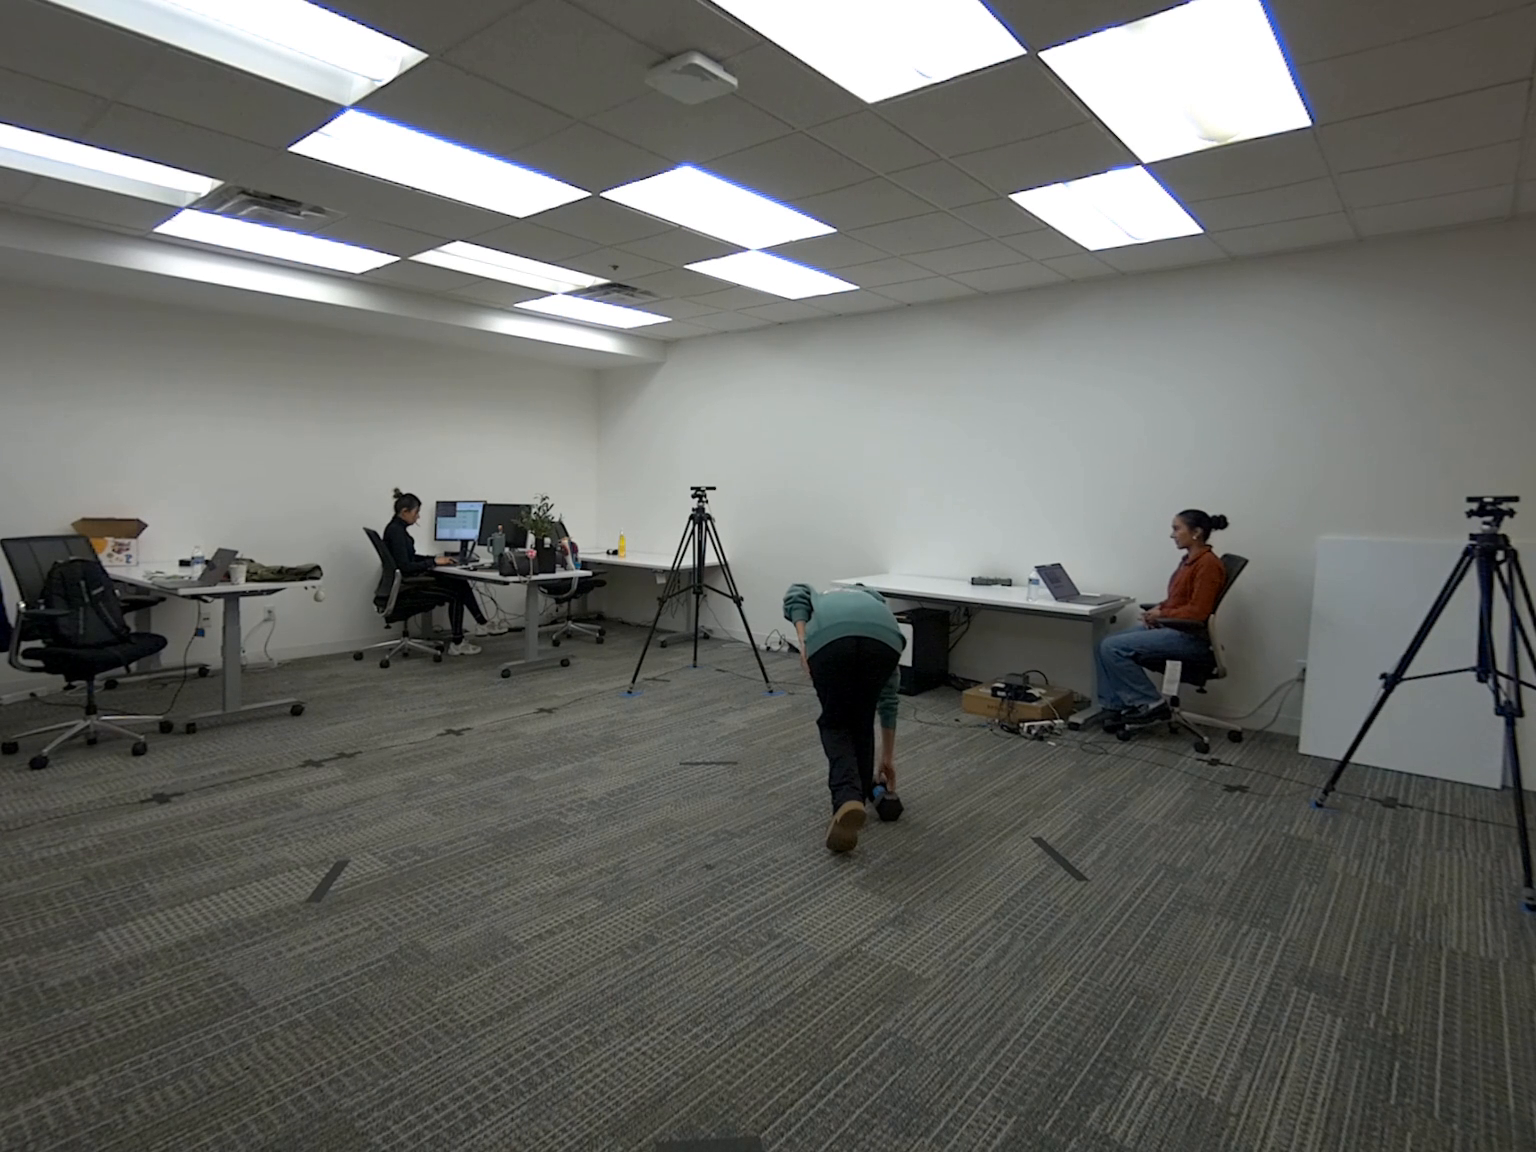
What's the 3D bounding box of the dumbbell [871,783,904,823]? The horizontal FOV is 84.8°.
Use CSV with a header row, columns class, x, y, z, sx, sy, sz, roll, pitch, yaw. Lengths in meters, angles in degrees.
class,x,y,z,sx,sy,sz,roll,pitch,yaw
dumbbell,0.491,0.962,3.723,0.108,0.123,0.296,31,2,-8
